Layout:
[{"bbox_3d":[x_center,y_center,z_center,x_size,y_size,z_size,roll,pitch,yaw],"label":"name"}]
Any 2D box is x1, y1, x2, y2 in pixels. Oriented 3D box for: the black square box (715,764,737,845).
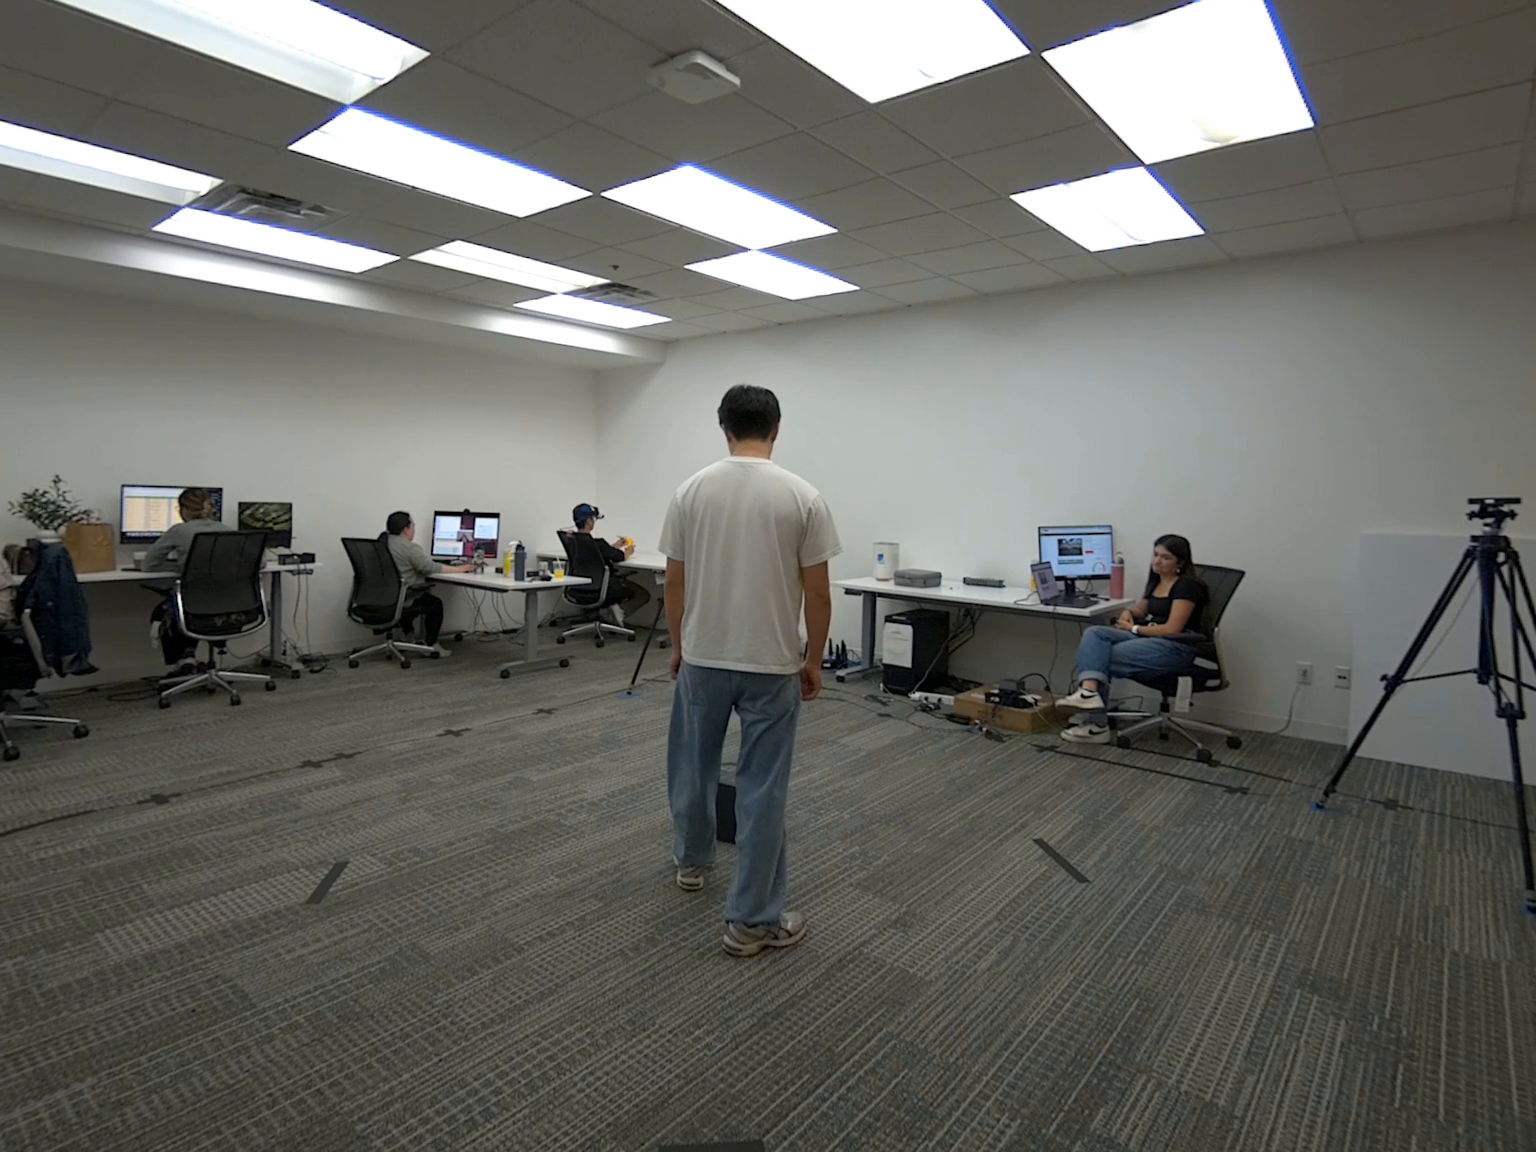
[{"bbox_3d":[-0.171,0.912,3.416,0.223,0.227,0.152,3,3,29],"label":"black square box"}]
